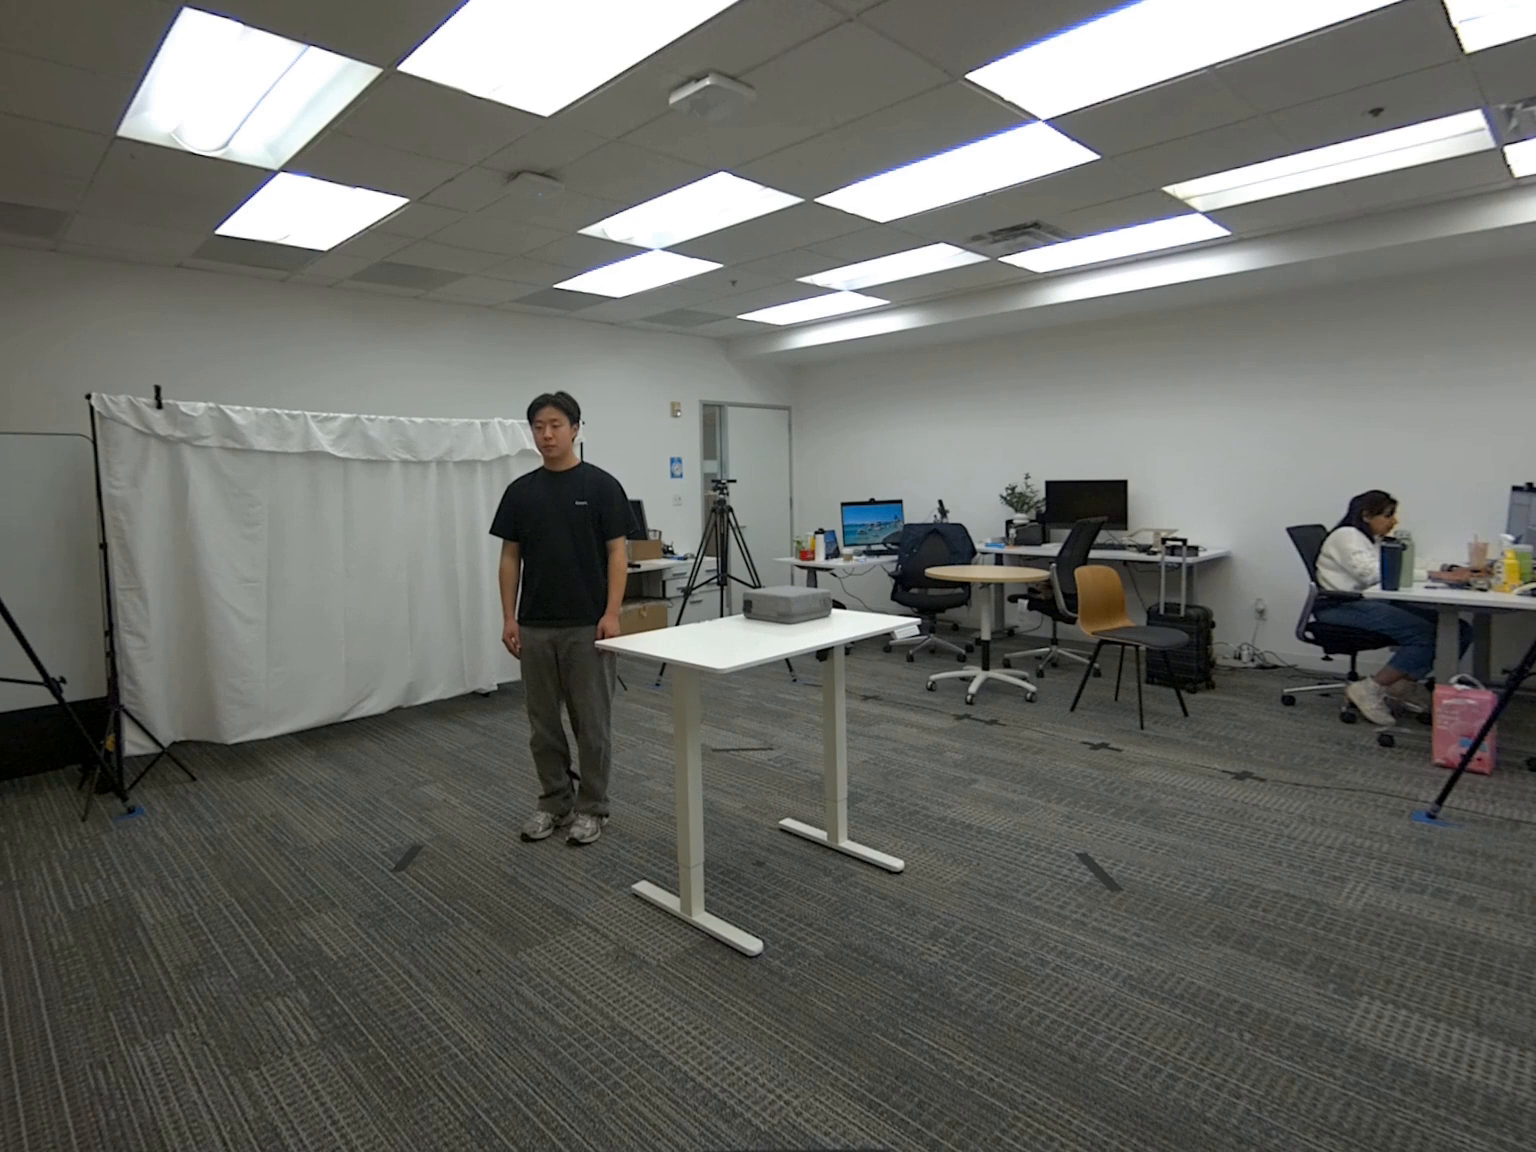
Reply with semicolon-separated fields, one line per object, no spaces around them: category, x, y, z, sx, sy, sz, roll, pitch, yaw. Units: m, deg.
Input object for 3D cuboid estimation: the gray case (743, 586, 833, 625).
gray case;0.078;0.101;3.161;0.265;0.104;0.254;3;8;44
